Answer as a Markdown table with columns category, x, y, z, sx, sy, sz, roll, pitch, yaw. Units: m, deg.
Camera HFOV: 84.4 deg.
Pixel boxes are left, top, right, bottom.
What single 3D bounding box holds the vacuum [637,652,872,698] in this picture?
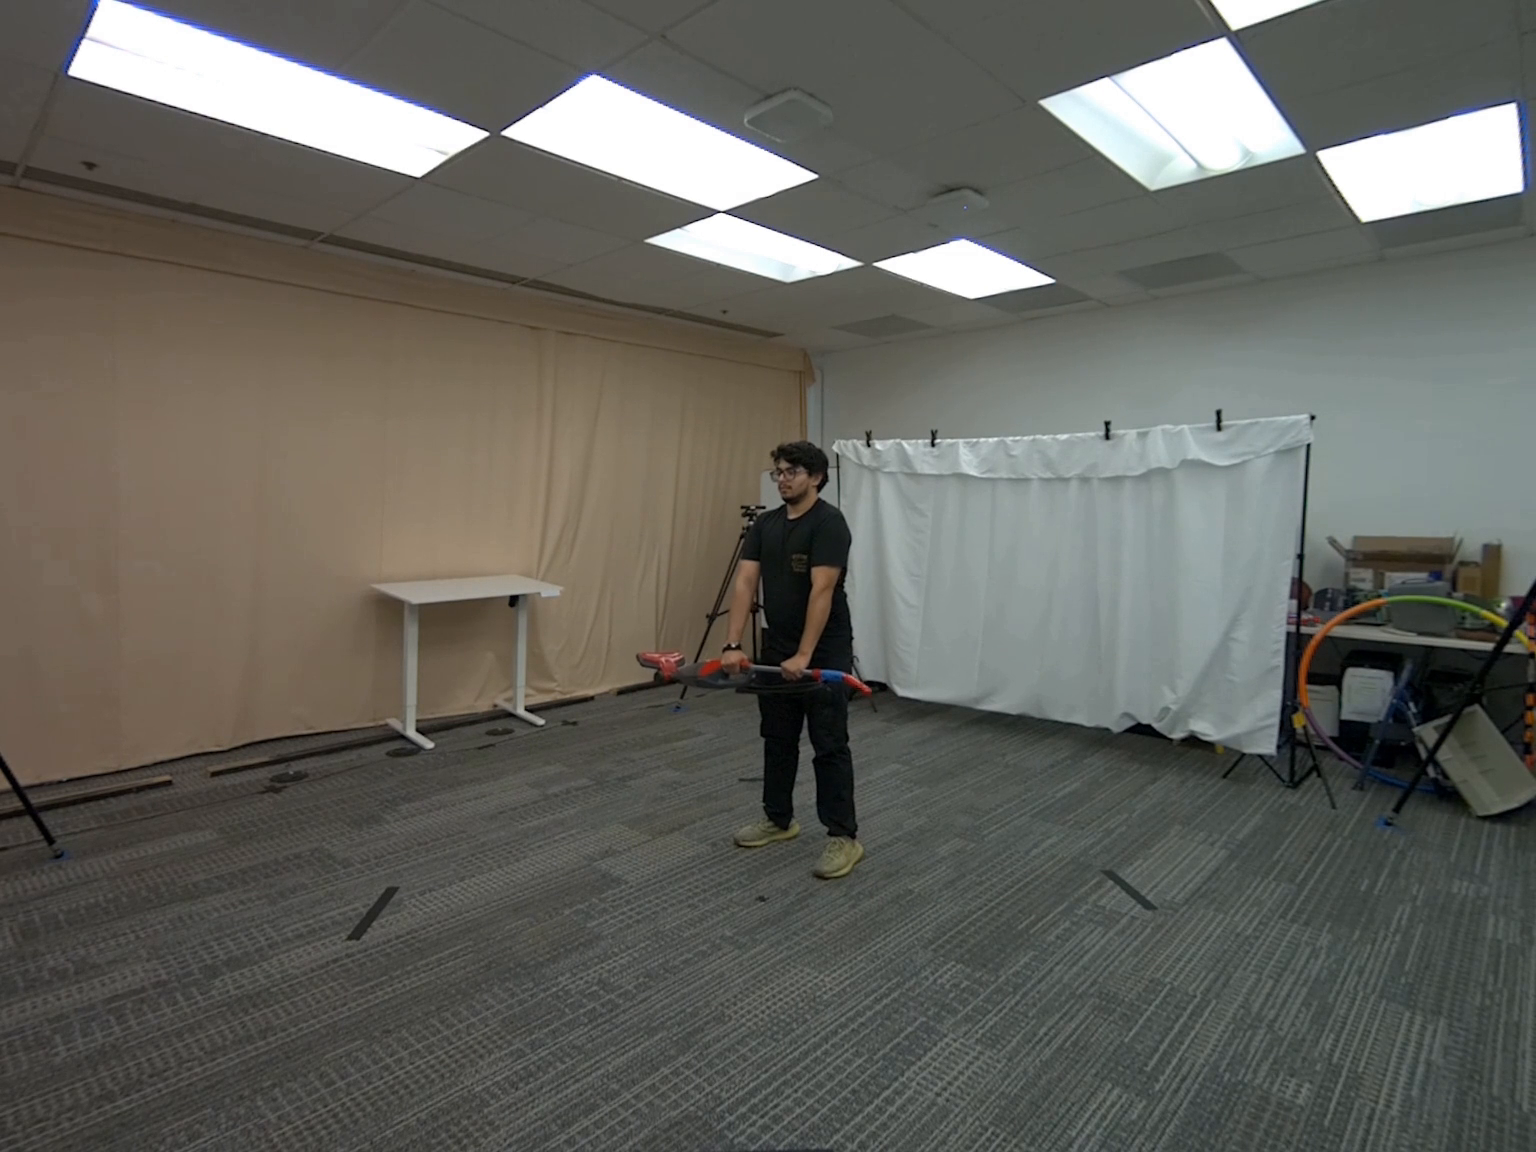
| category | x | y | z | sx | sy | sz | roll | pitch | yaw |
| --- | --- | --- | --- | --- | --- | --- | --- | --- | --- |
| vacuum | -0.057 | 0.392 | 3.199 | 0.244 | 0.144 | 1.083 | 8 | -5 | -44 |
